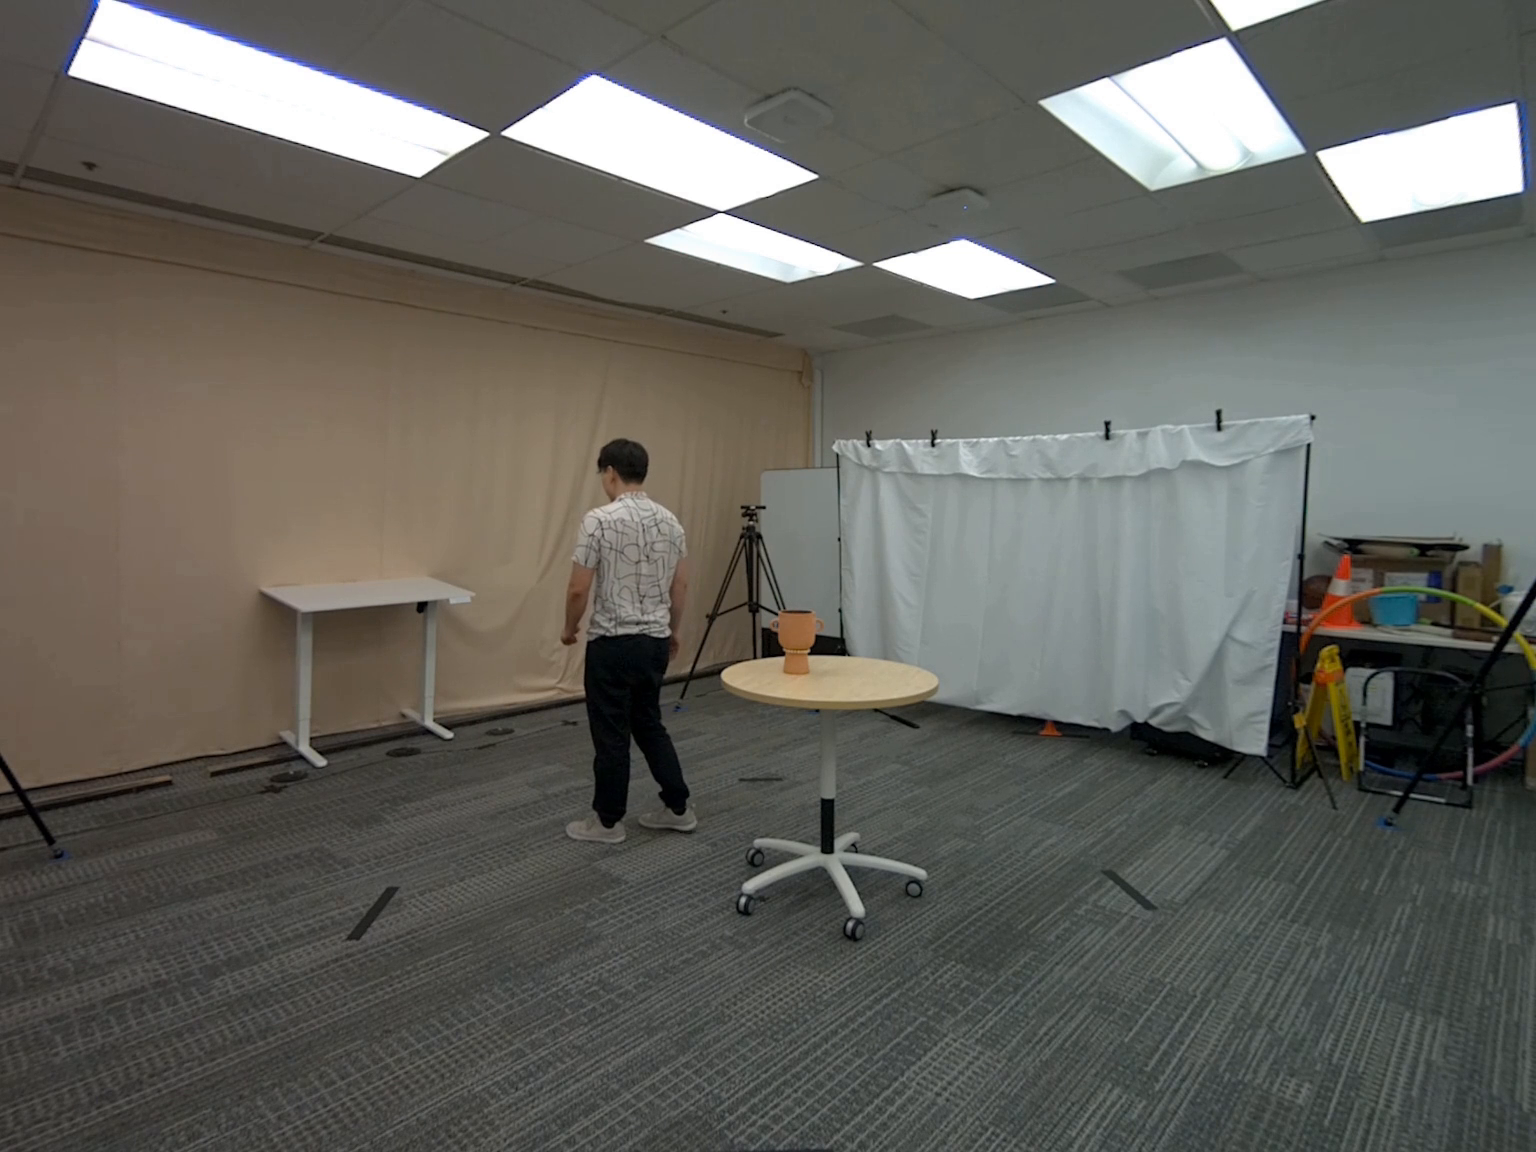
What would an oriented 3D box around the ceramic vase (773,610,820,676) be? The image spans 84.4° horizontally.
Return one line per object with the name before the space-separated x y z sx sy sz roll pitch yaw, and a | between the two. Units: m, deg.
ceramic vase | 0.112 0.242 3.064 0.164 0.219 0.131 3 4 35
